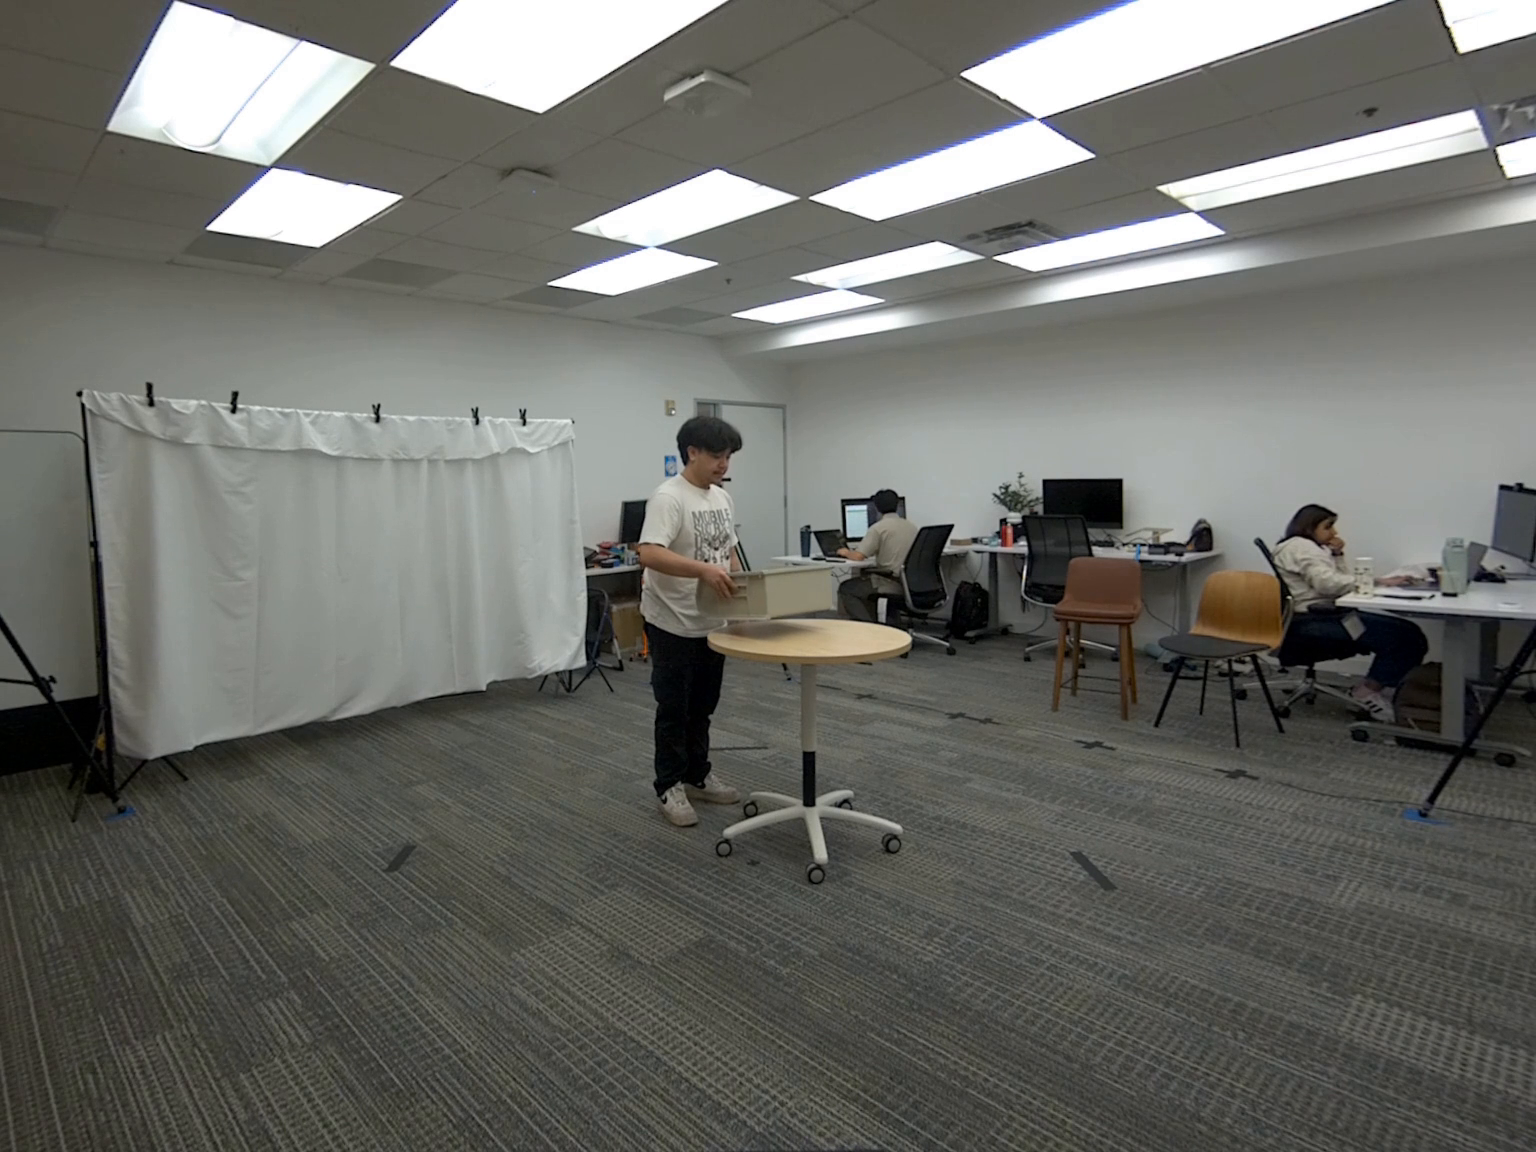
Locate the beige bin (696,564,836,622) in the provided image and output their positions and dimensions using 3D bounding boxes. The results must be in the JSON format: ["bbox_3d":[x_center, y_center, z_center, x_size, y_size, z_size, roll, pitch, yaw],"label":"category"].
[{"bbox_3d":[-0.003,0.067,3.349,0.411,0.189,0.388,-4,2,-44],"label":"beige bin"}]
